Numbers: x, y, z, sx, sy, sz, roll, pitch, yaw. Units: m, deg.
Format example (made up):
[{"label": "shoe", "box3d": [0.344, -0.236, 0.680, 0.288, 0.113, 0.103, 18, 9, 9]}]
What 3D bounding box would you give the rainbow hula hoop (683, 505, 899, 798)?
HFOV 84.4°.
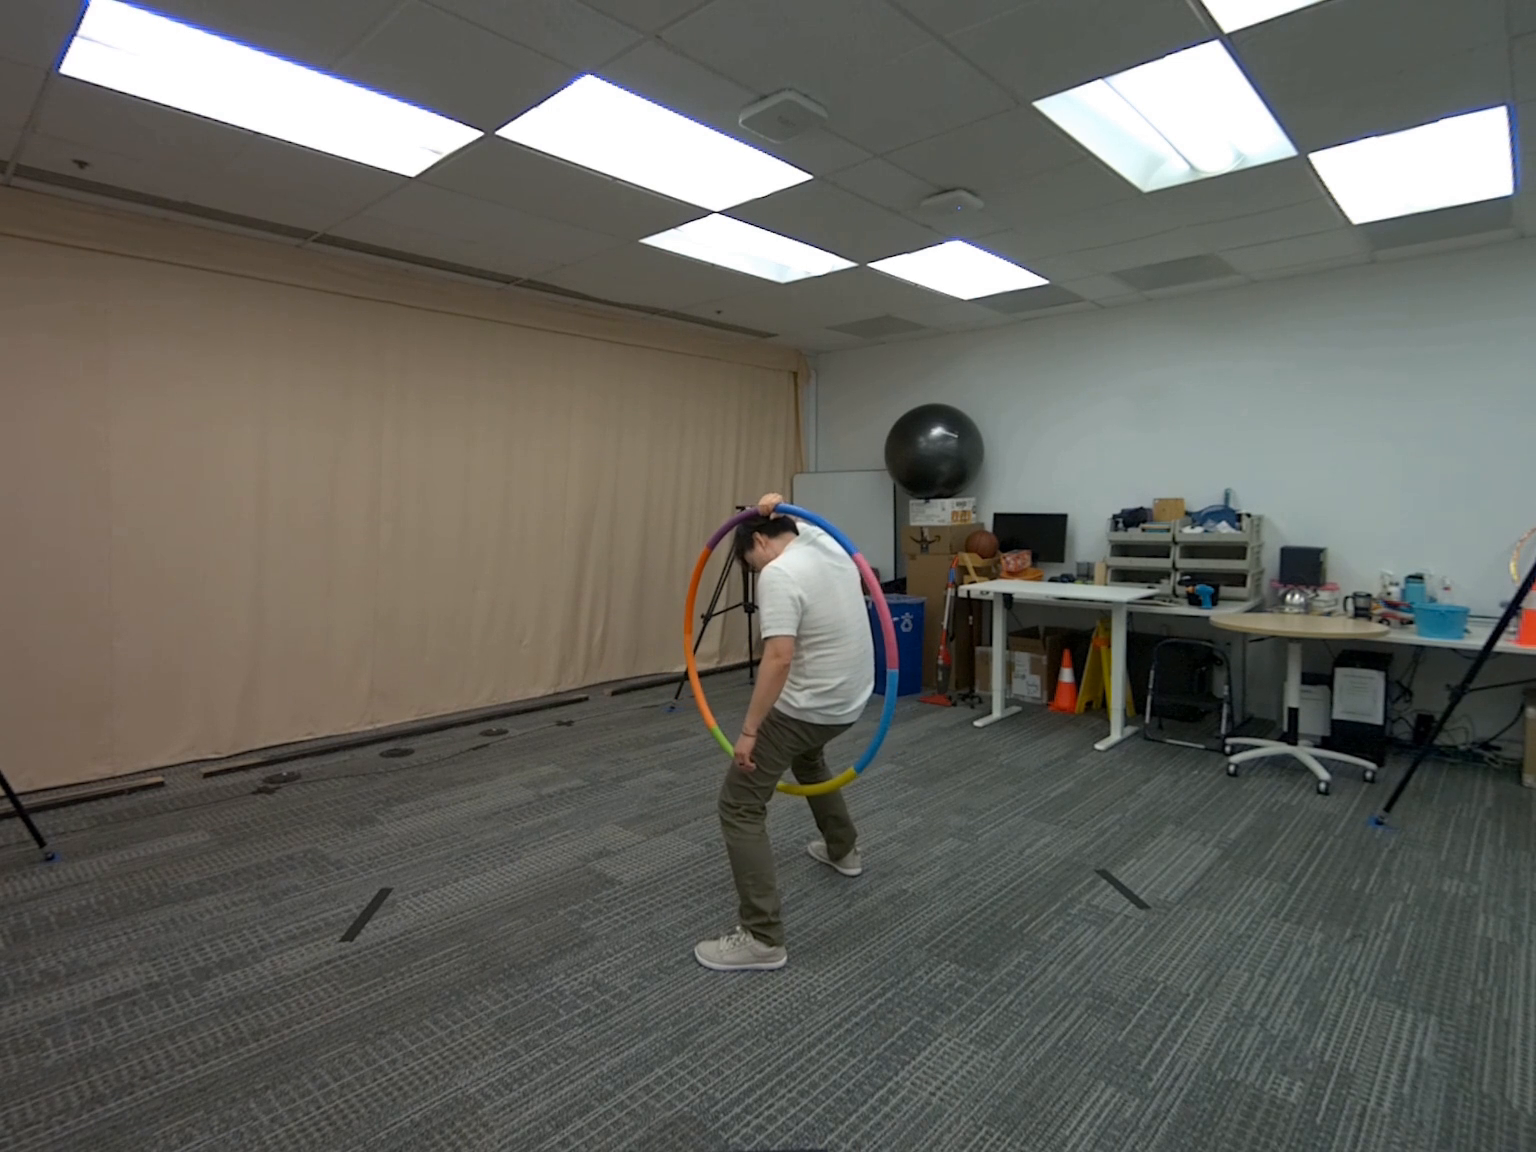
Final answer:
[{"label": "rainbow hula hoop", "box3d": [0.039, 0.242, 2.887, 0.034, 0.976, 1.011, -3, 5, -44]}]
